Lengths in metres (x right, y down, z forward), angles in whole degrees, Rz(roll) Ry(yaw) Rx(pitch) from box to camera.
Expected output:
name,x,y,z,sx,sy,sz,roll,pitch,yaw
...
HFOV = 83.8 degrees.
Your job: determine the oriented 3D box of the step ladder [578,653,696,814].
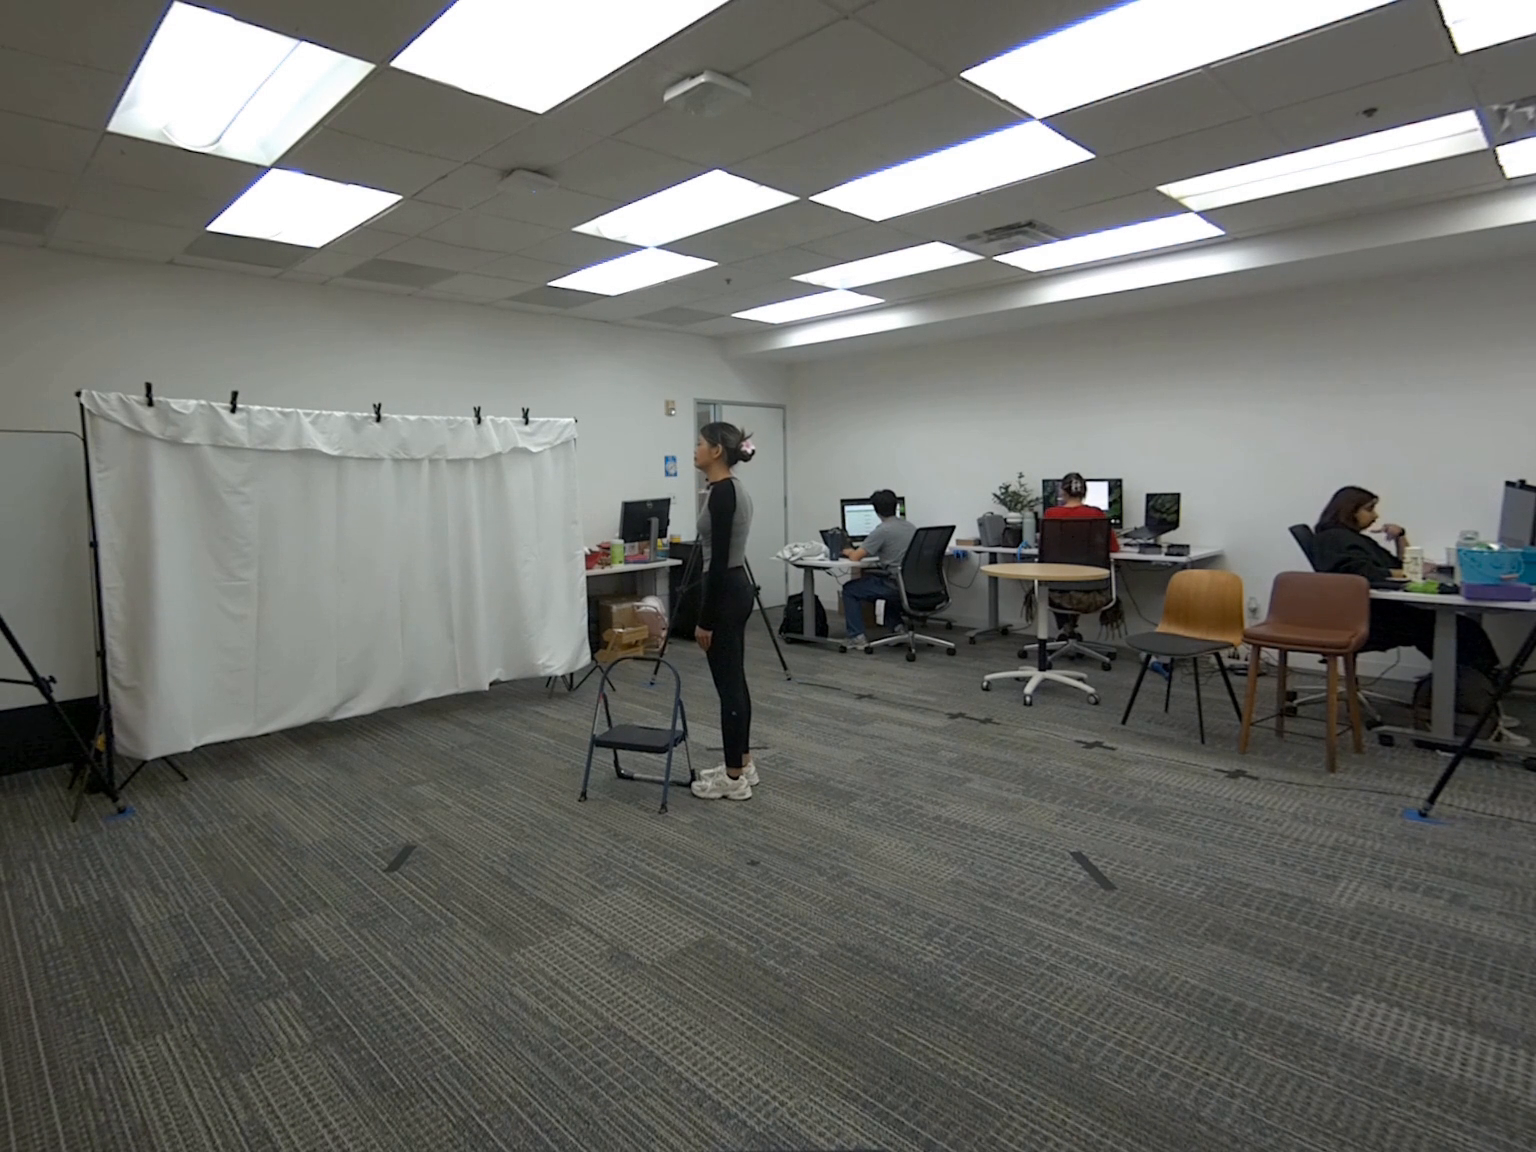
name,x,y,z,sx,sy,sz,roll,pitch,yaw
step ladder,-0.579,0.674,3.805,0.440,0.604,0.343,2,5,22
